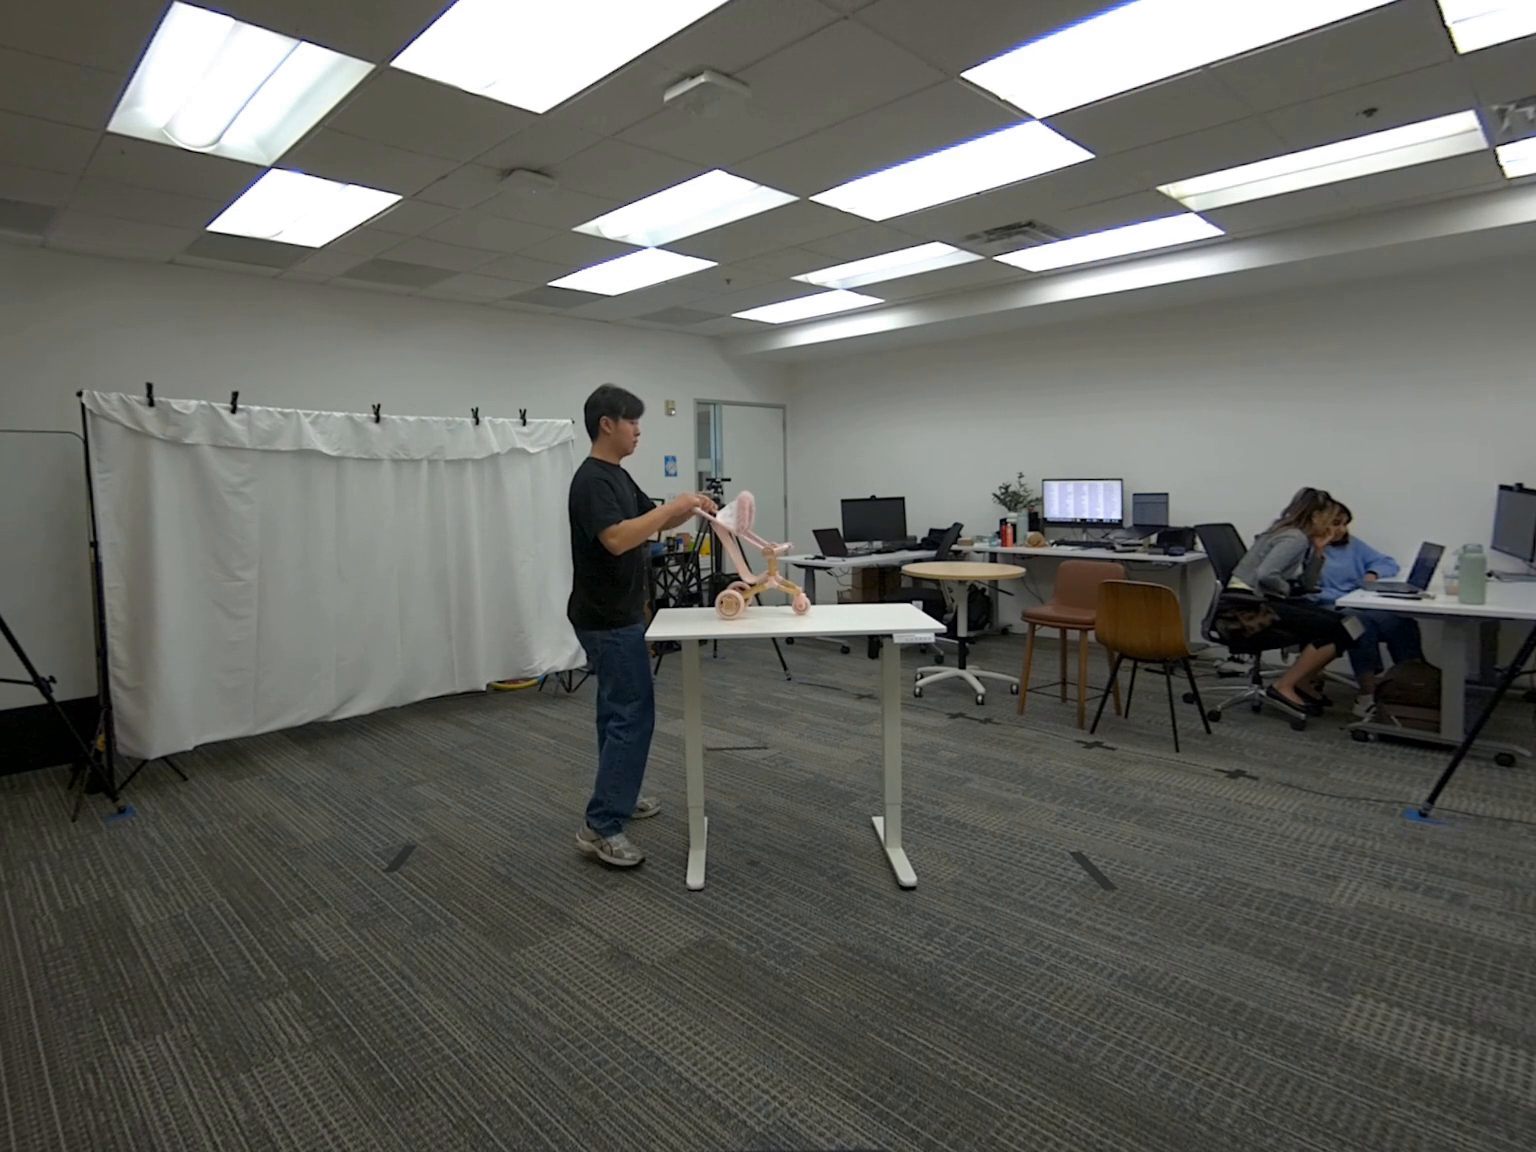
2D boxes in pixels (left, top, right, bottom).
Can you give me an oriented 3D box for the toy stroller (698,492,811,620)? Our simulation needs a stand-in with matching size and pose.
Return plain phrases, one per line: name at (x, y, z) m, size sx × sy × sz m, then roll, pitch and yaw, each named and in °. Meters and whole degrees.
toy stroller at (-0.065, -0.078, 3.212) m, size 0.345 × 0.535 × 0.279 m, roll -15°, pitch 1°, yaw 14°
